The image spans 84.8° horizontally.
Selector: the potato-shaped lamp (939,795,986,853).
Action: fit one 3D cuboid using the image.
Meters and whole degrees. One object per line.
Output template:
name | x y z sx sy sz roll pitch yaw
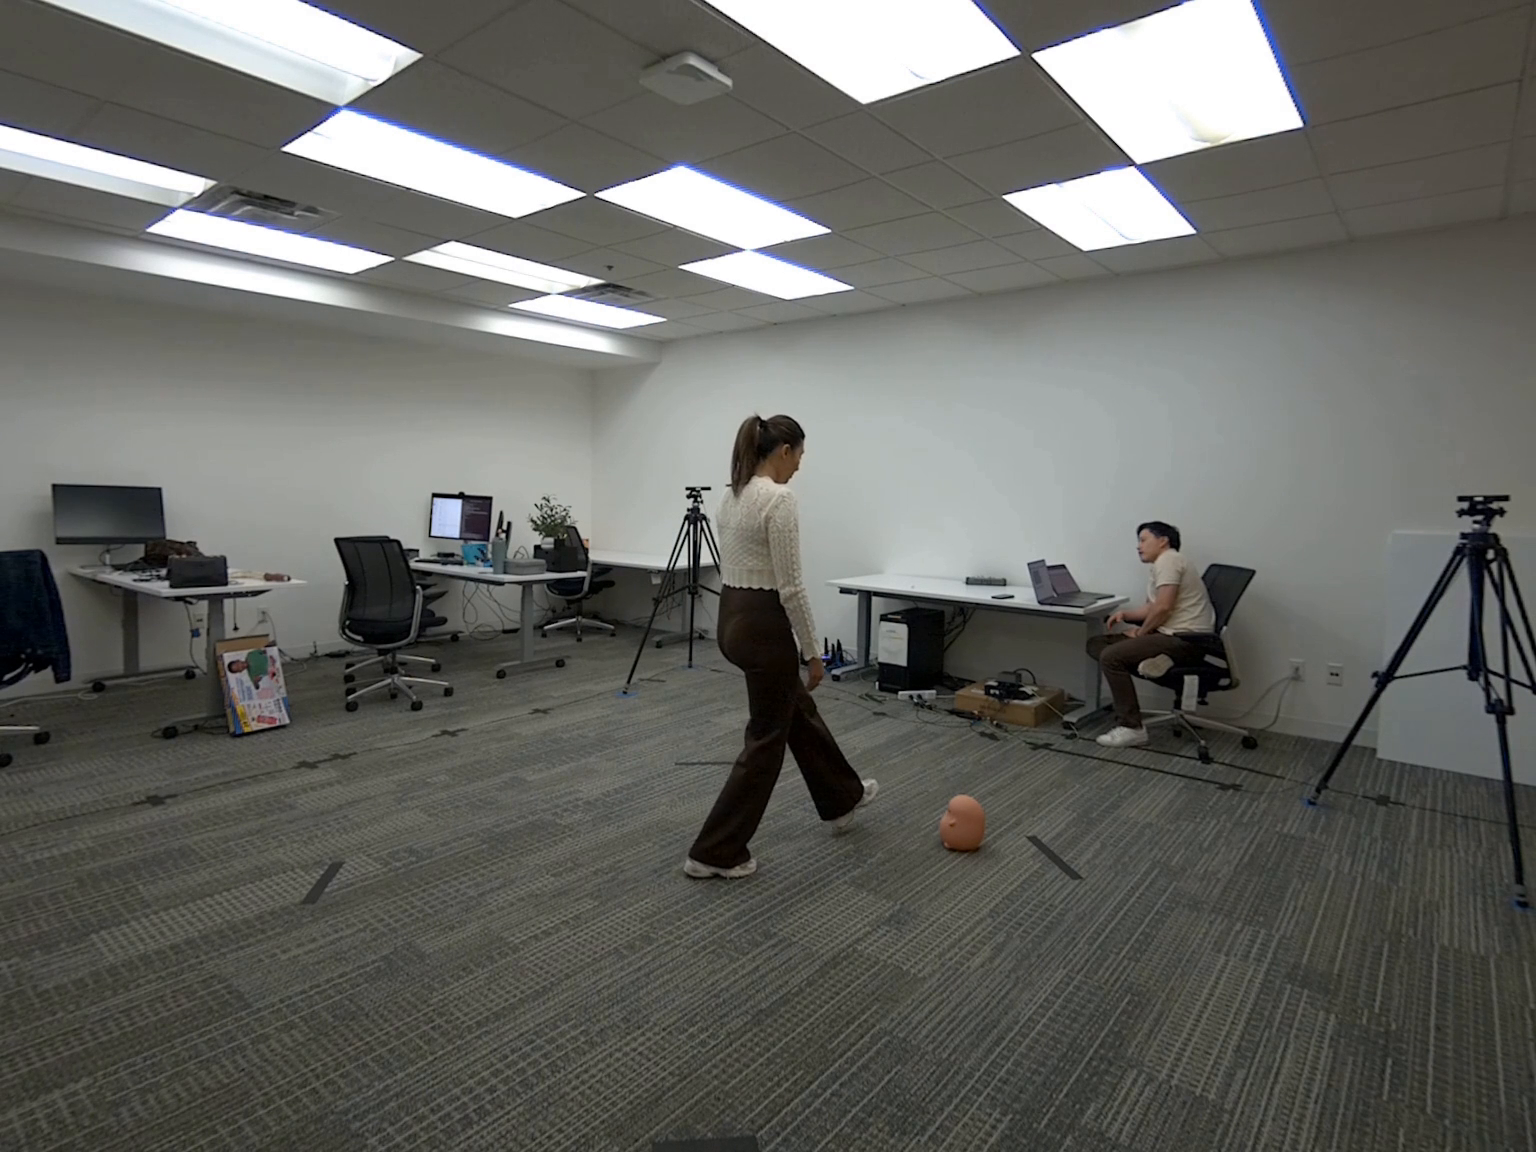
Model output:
potato-shaped lamp | 0.756 0.958 3.353 0.173 0.197 0.164 3 4 8
